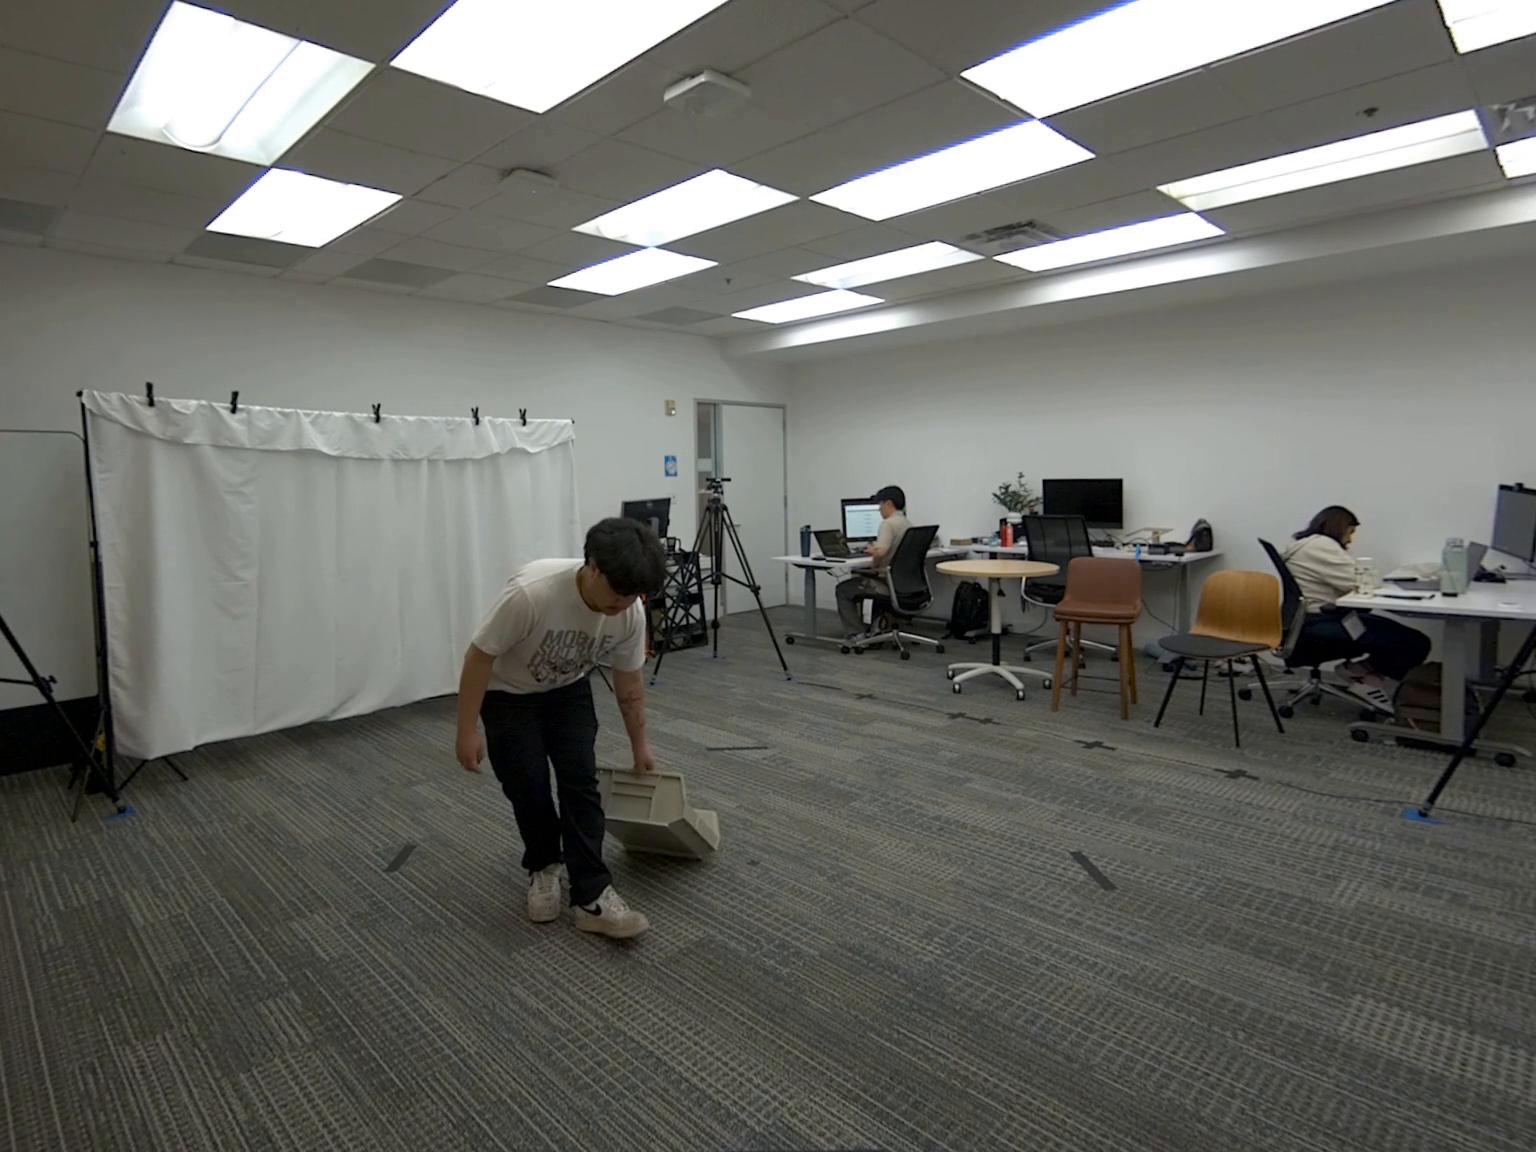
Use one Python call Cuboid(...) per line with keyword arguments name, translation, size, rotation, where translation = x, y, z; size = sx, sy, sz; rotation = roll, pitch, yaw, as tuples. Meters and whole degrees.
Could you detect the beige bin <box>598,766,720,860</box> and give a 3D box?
Cuboid(name="beige bin", translation=(-0.404, 0.855, 3.069), size=(0.384, 0.192, 0.408), rotation=(1, -32, 17))
